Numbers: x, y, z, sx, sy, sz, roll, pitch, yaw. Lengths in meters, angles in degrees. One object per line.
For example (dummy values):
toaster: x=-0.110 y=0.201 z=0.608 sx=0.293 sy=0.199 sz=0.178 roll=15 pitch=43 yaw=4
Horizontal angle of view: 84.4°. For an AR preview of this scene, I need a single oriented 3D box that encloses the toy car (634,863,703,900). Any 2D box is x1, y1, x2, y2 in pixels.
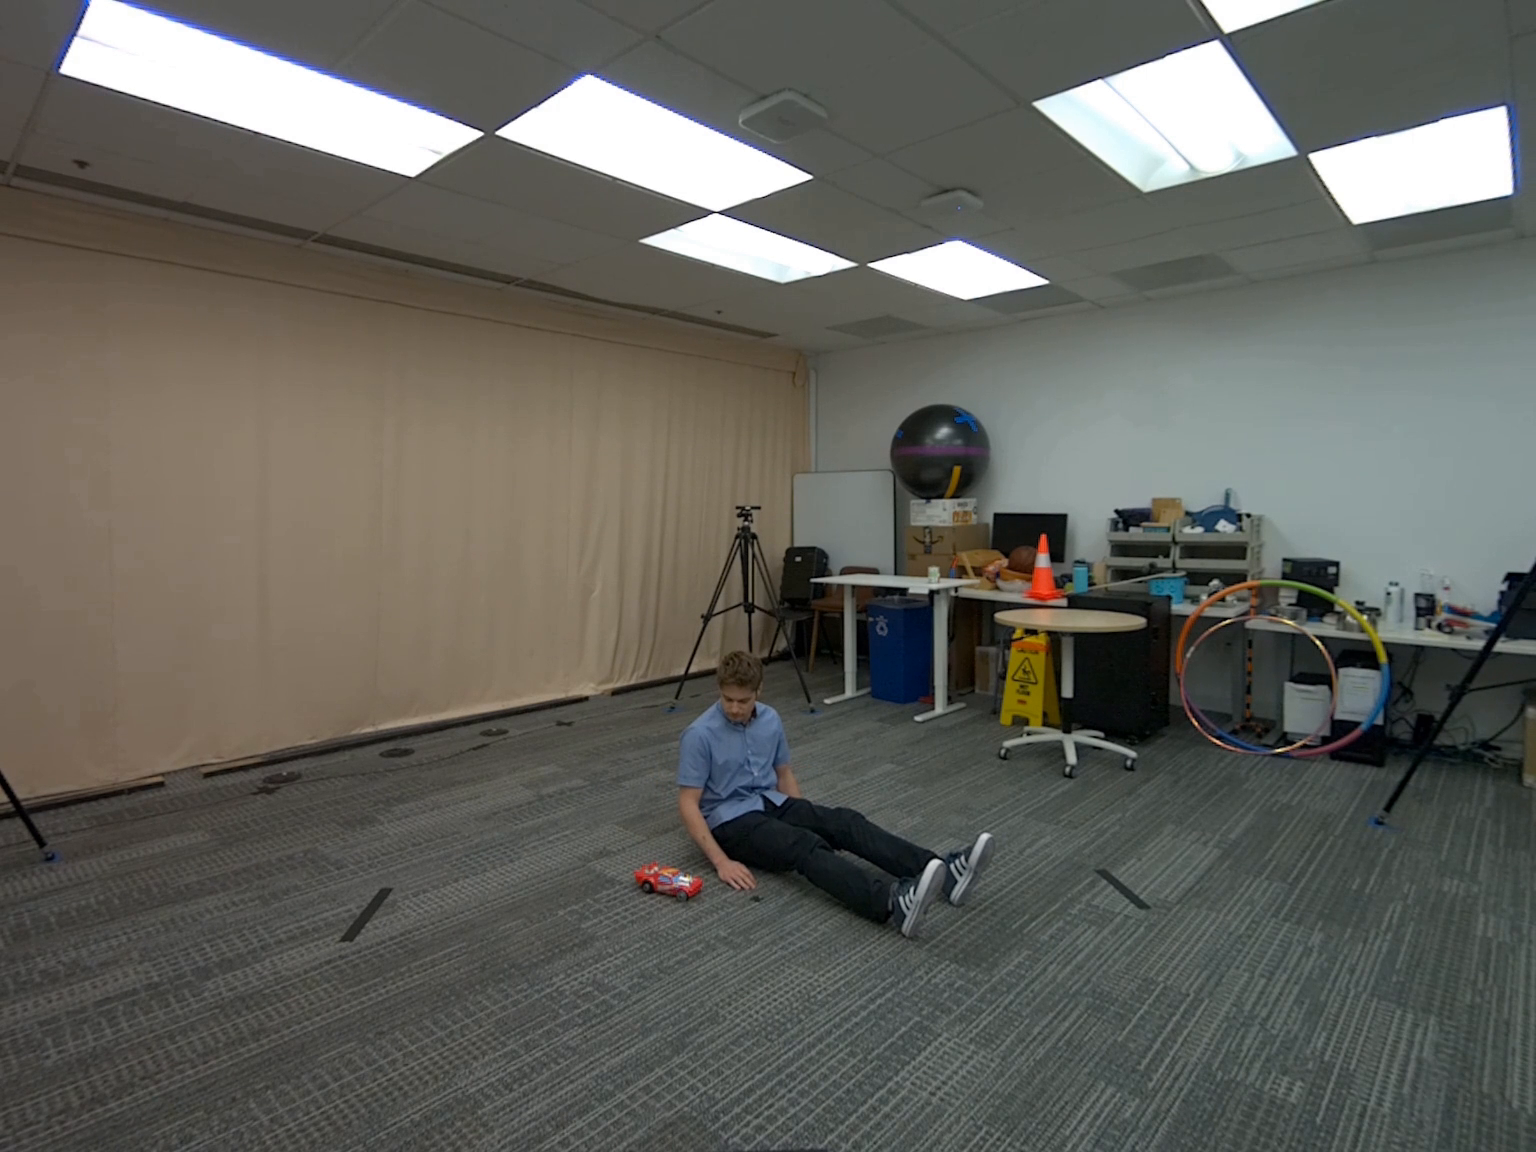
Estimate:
toy car: x=-0.374 y=1.112 z=3.052 sx=0.262 sy=0.083 sz=0.127 roll=15 pitch=12 yaw=27
